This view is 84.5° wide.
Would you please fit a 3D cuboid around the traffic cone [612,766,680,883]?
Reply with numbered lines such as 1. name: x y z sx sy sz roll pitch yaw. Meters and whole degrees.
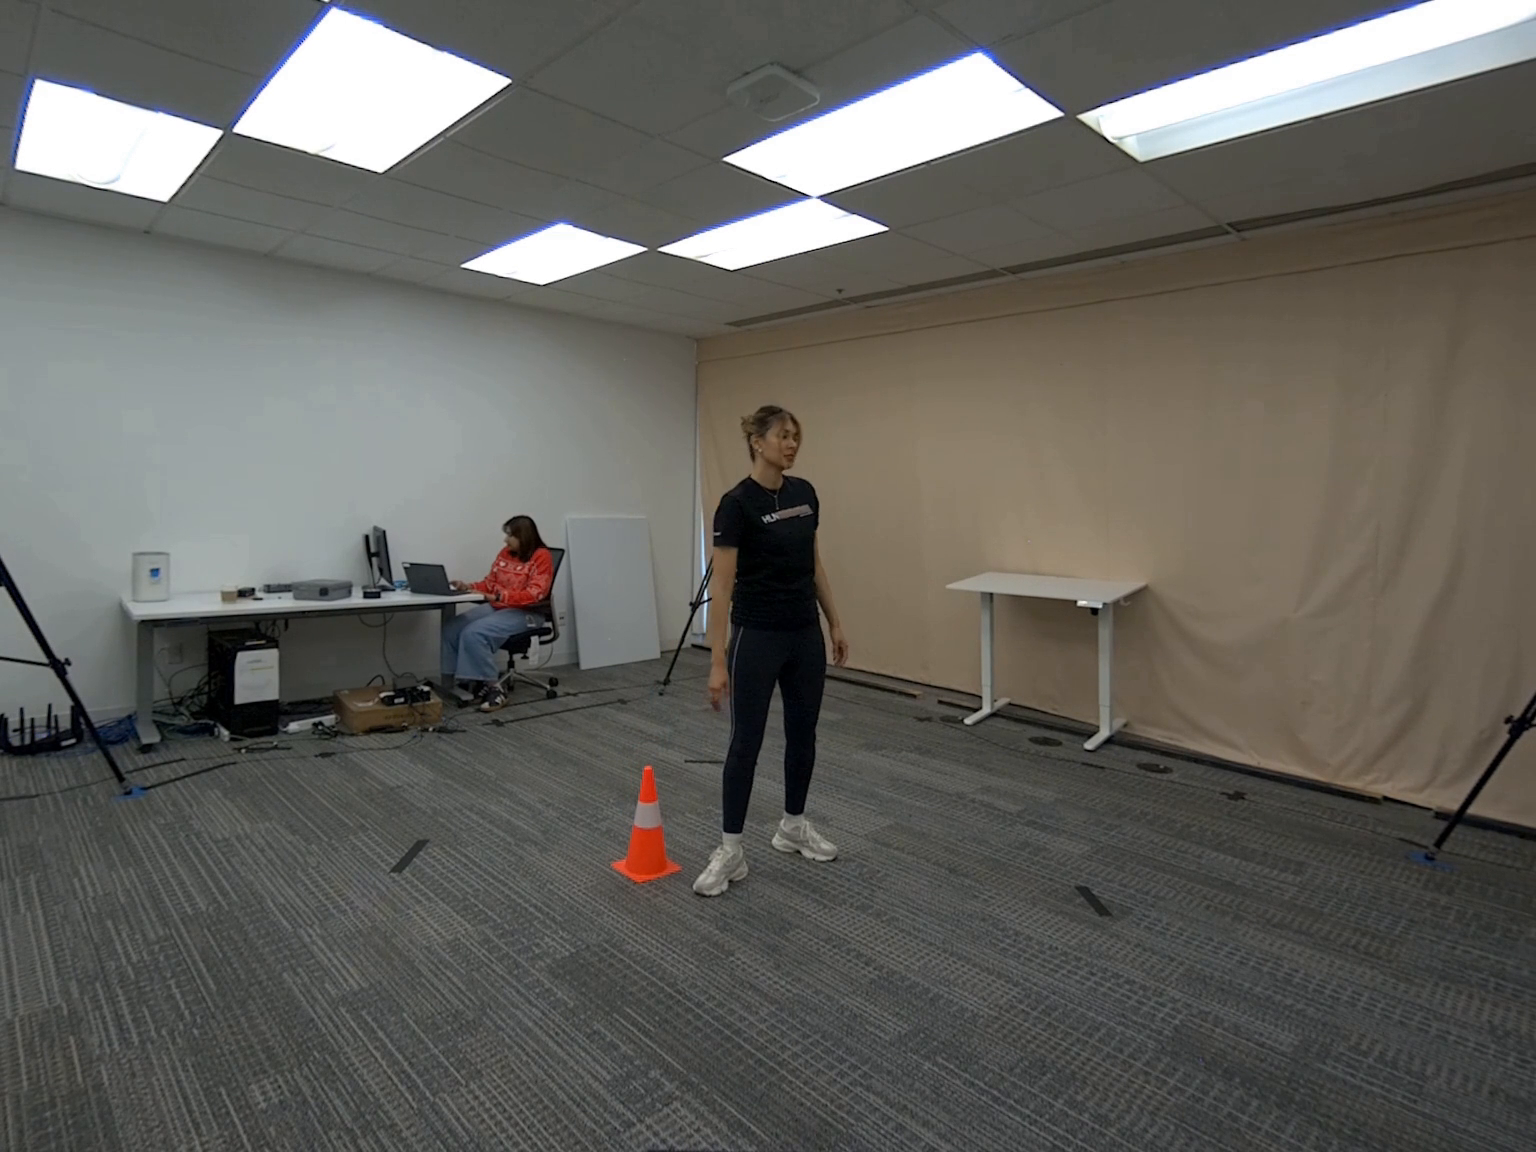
1. traffic cone: -0.466 0.910 3.147 0.200 0.383 0.208 -2 4 -35
